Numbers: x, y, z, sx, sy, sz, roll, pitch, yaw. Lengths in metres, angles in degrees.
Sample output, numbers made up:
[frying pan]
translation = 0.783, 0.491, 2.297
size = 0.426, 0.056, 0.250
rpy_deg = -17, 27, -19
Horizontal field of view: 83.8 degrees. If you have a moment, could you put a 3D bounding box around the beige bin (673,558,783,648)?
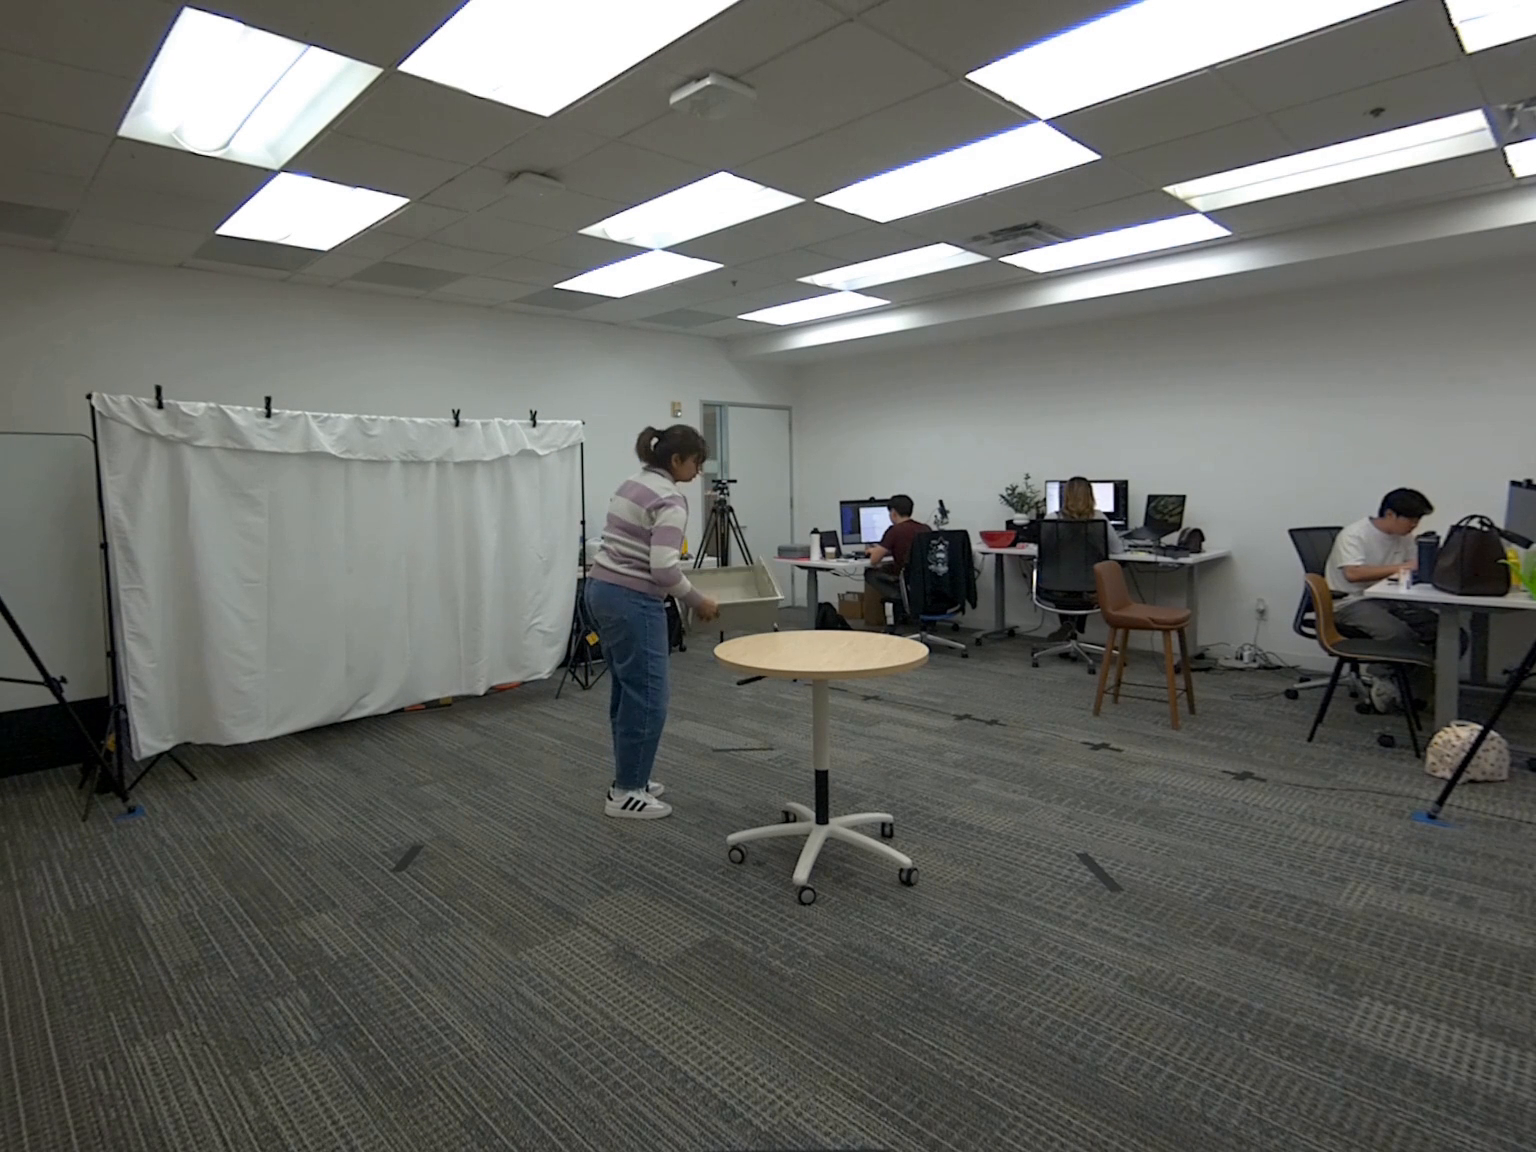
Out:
[beige bin]
translation = -0.191, 0.077, 3.825
size = 0.416, 0.185, 0.391
rpy_deg = -4, 37, -17
